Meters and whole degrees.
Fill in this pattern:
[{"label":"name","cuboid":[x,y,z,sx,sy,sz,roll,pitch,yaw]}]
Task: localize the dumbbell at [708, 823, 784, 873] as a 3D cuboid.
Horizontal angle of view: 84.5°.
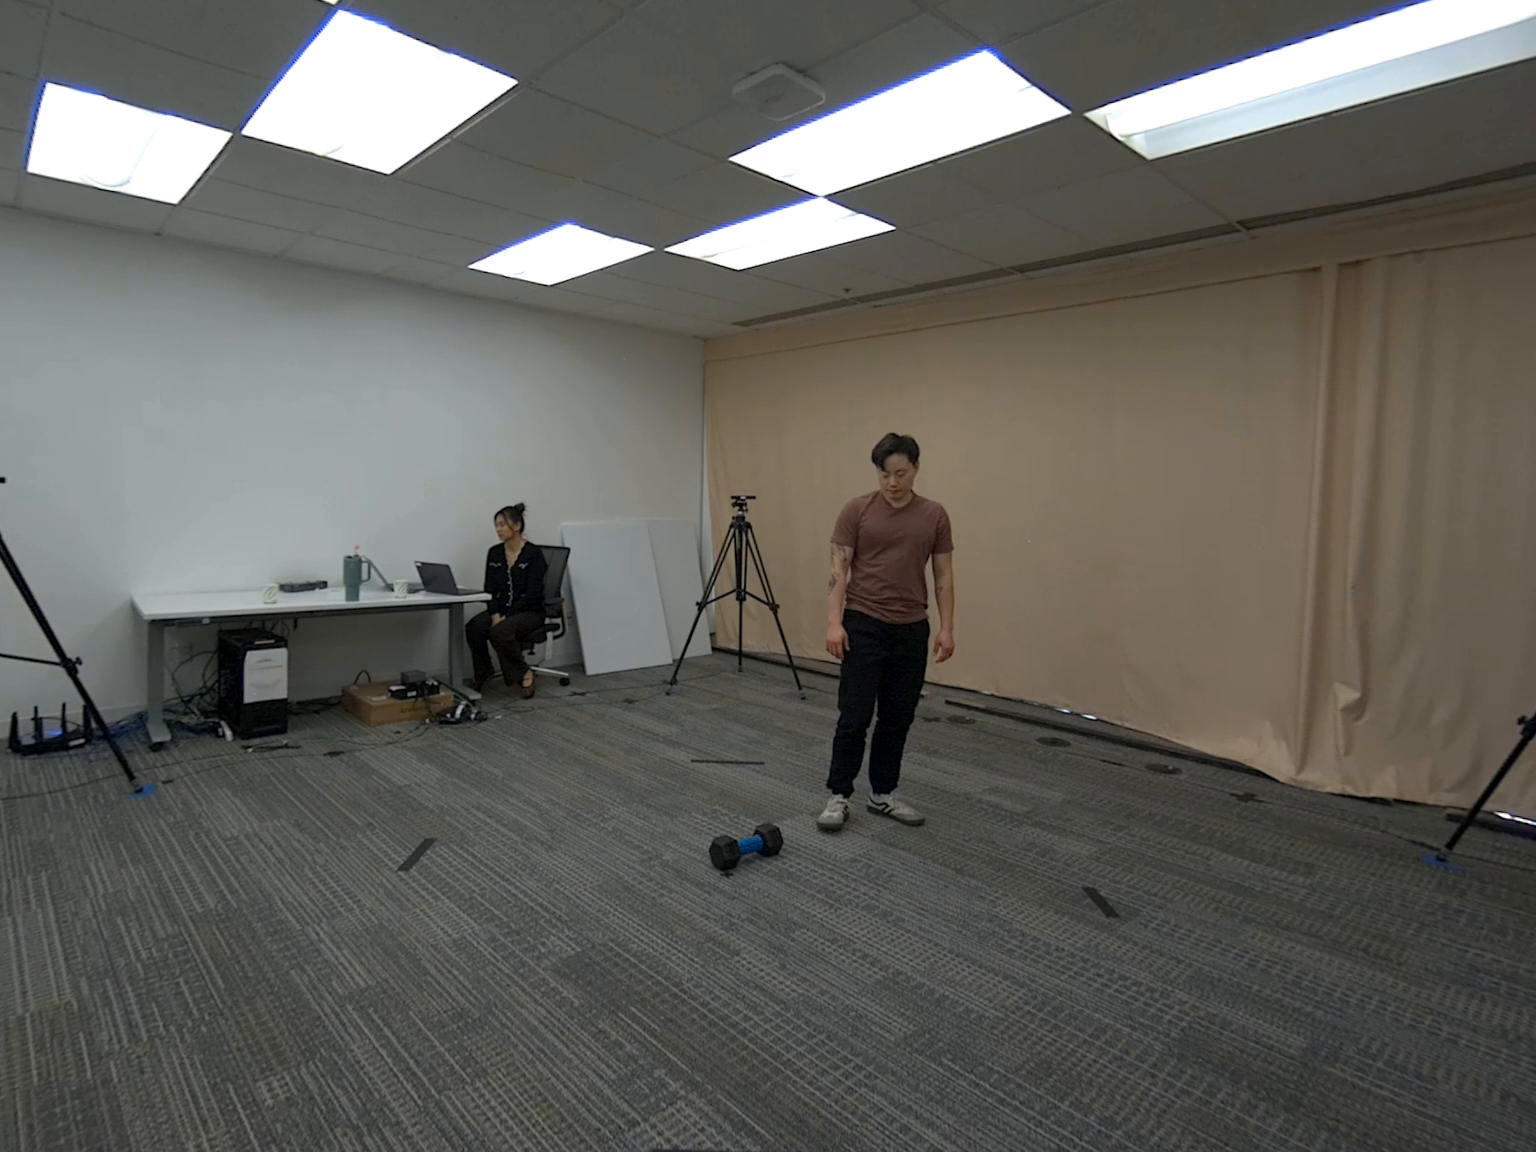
[{"label":"dumbbell","cuboid":[-0.089,1.037,3.229,0.287,0.125,0.109,-3,-24,-39]}]
